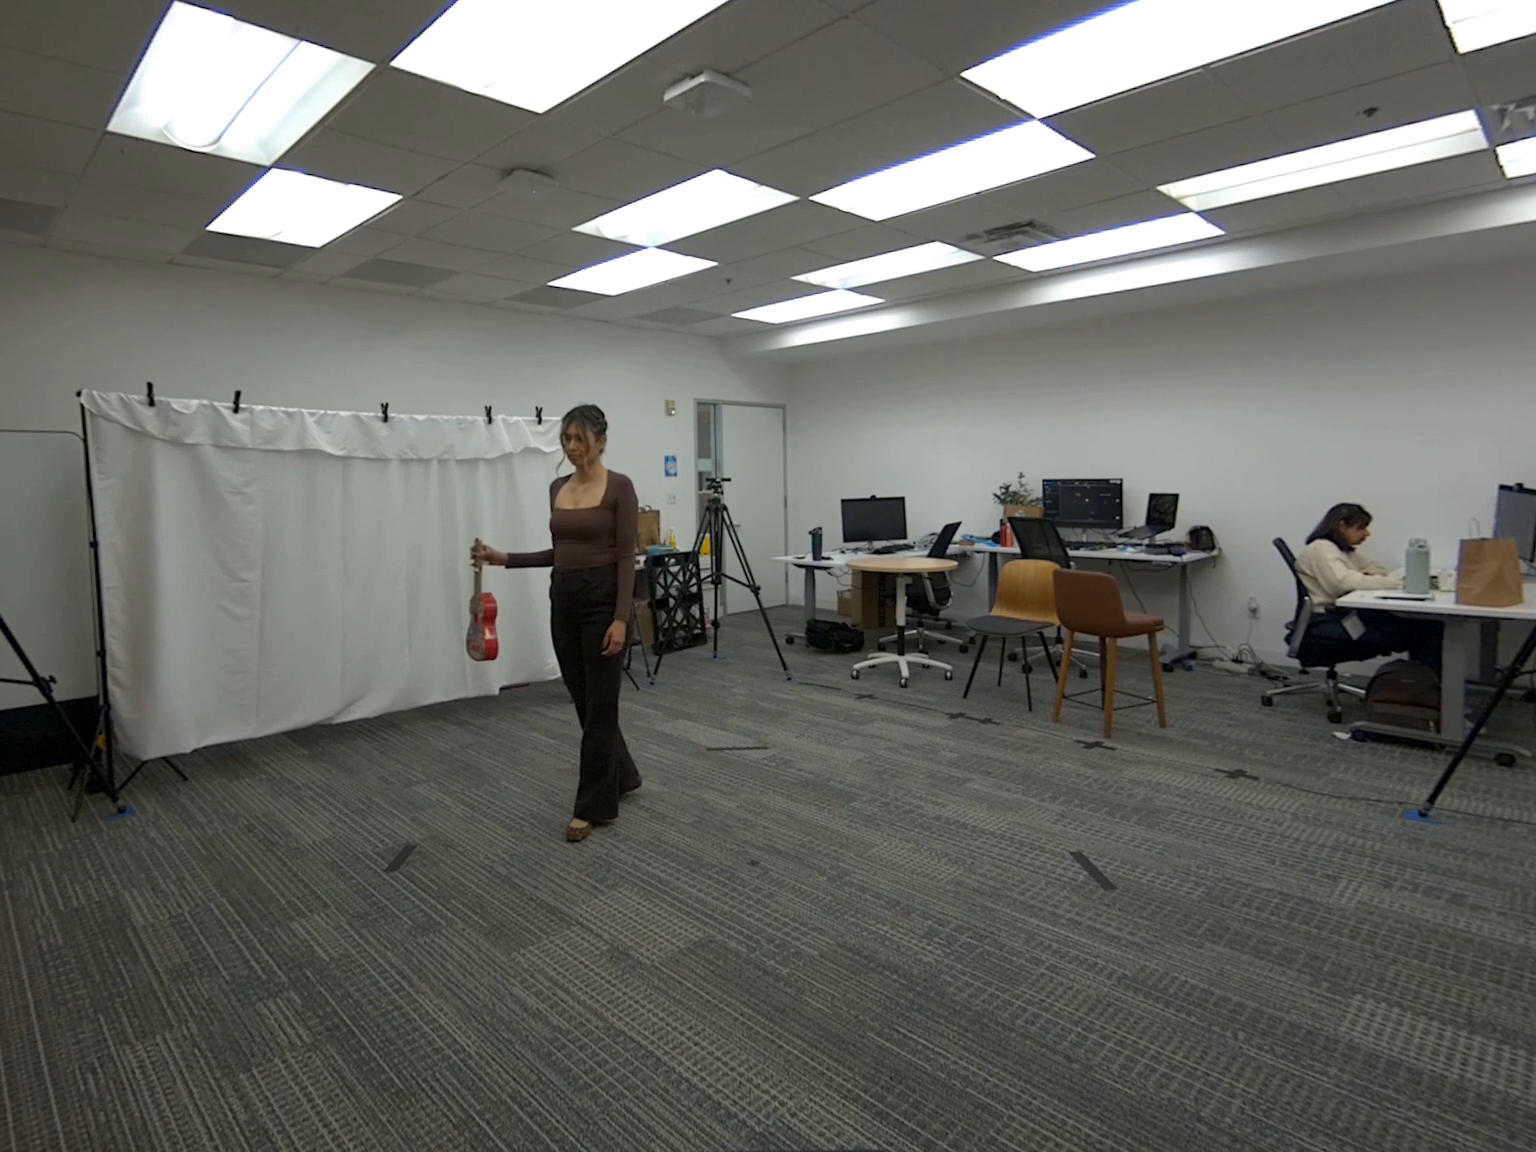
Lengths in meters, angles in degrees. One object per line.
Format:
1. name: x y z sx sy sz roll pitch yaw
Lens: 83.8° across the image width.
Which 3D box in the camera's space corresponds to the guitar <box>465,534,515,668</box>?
1. guitar: -1.127 0.097 3.463 0.200 0.493 0.069 18 15 41
